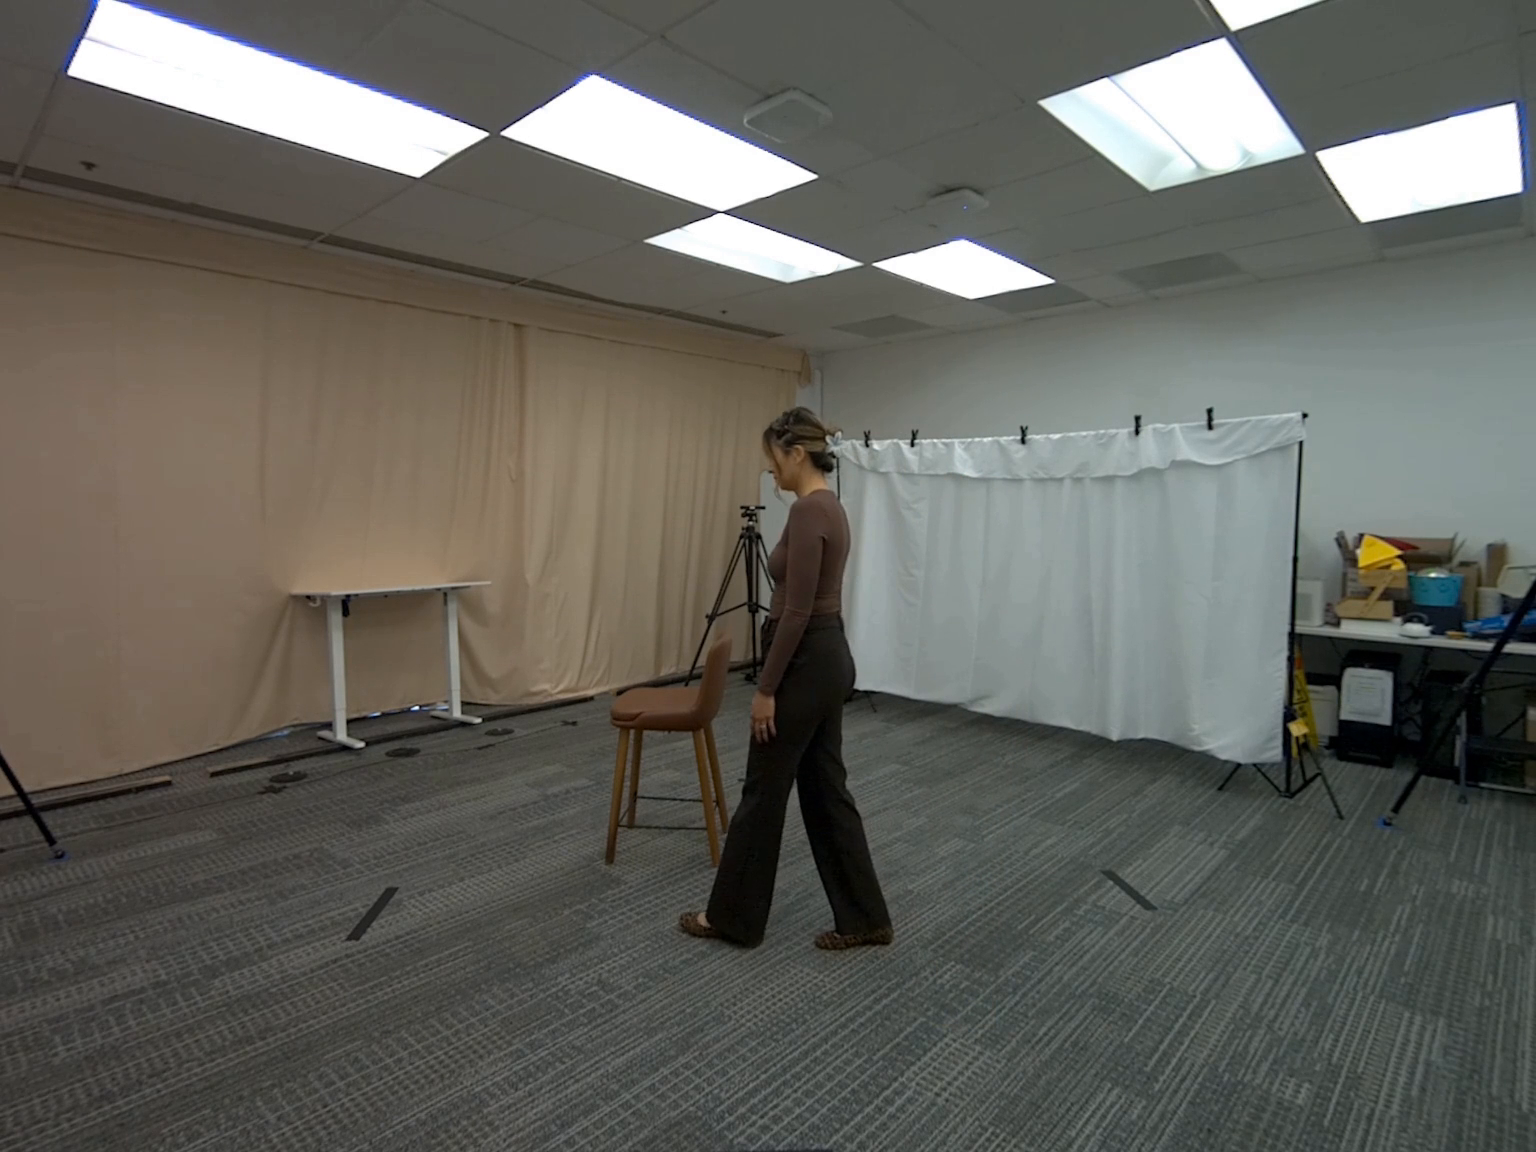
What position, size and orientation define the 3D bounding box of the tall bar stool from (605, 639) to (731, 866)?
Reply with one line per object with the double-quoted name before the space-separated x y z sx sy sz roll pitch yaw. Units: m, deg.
"tall bar stool" -0.399 0.675 3.435 0.471 0.888 0.454 1 3 5
